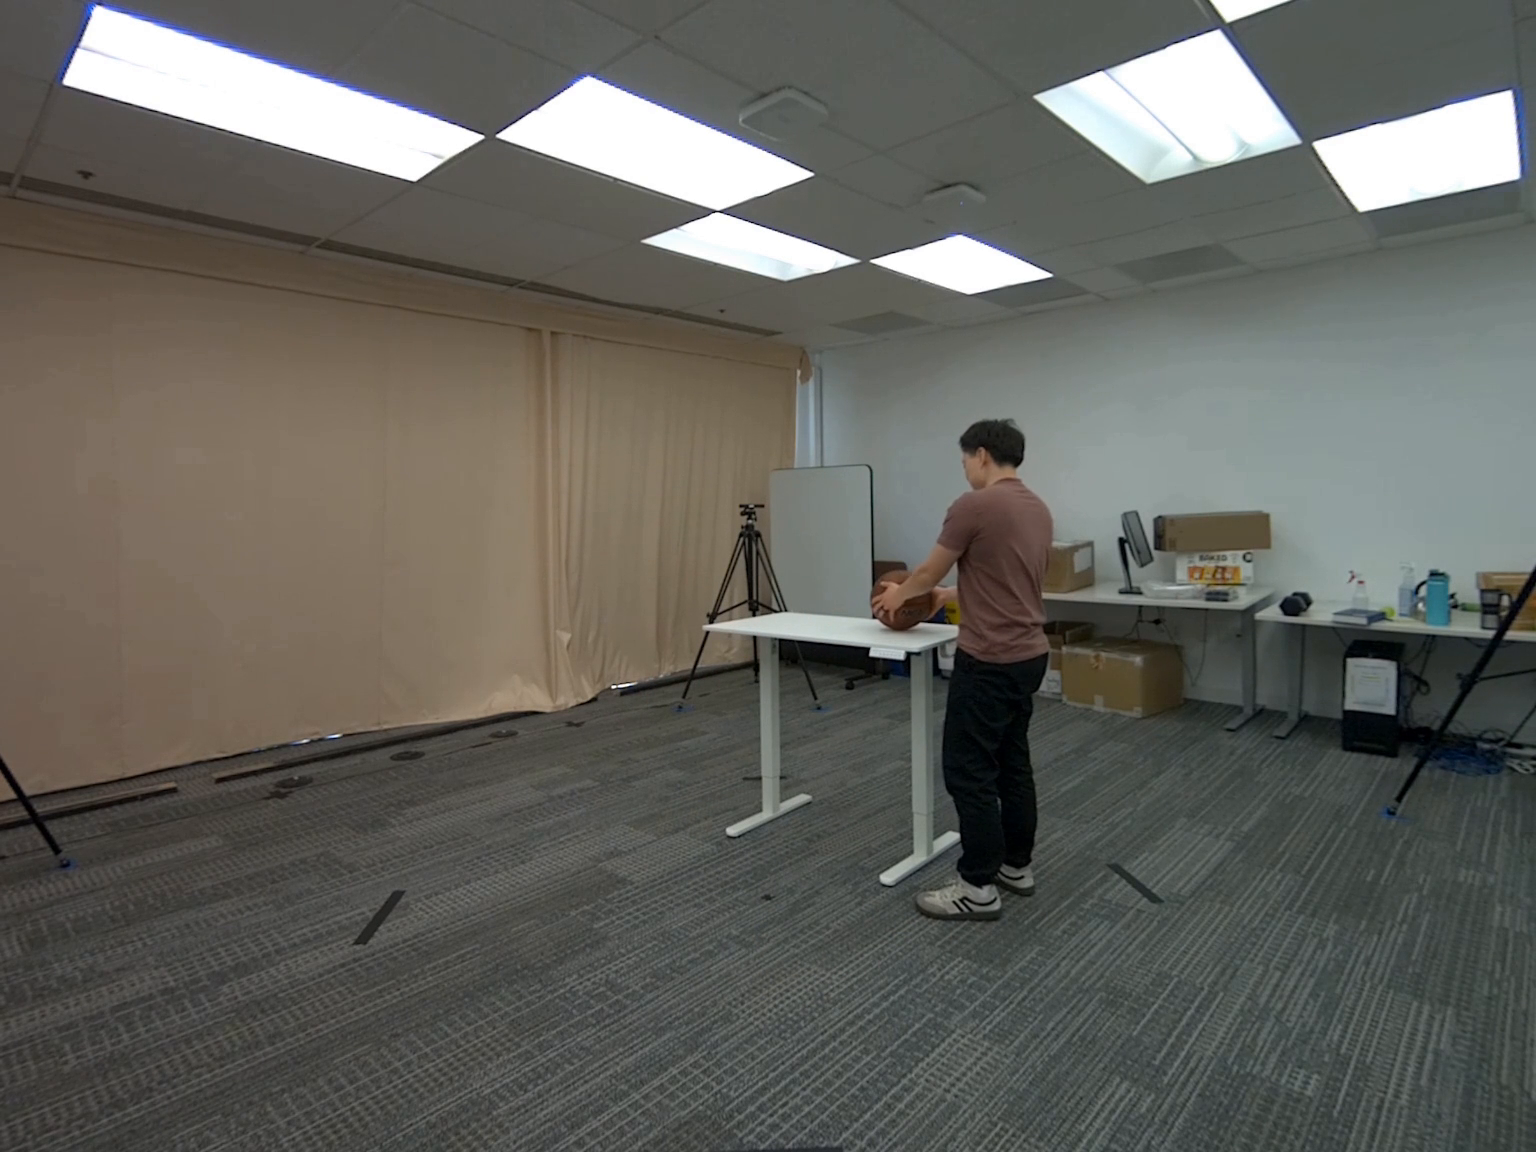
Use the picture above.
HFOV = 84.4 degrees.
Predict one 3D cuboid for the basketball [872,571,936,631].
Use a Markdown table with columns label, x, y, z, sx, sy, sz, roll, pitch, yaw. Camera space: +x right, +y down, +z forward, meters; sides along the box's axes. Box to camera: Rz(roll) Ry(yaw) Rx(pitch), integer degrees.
| label | x | y | z | sx | sy | sz | roll | pitch | yaw |
| --- | --- | --- | --- | --- | --- | --- | --- | --- | --- |
| basketball | 0.530 | 0.092 | 3.355 | 0.236 | 0.235 | 0.237 | -1 | 4 | -2 |
